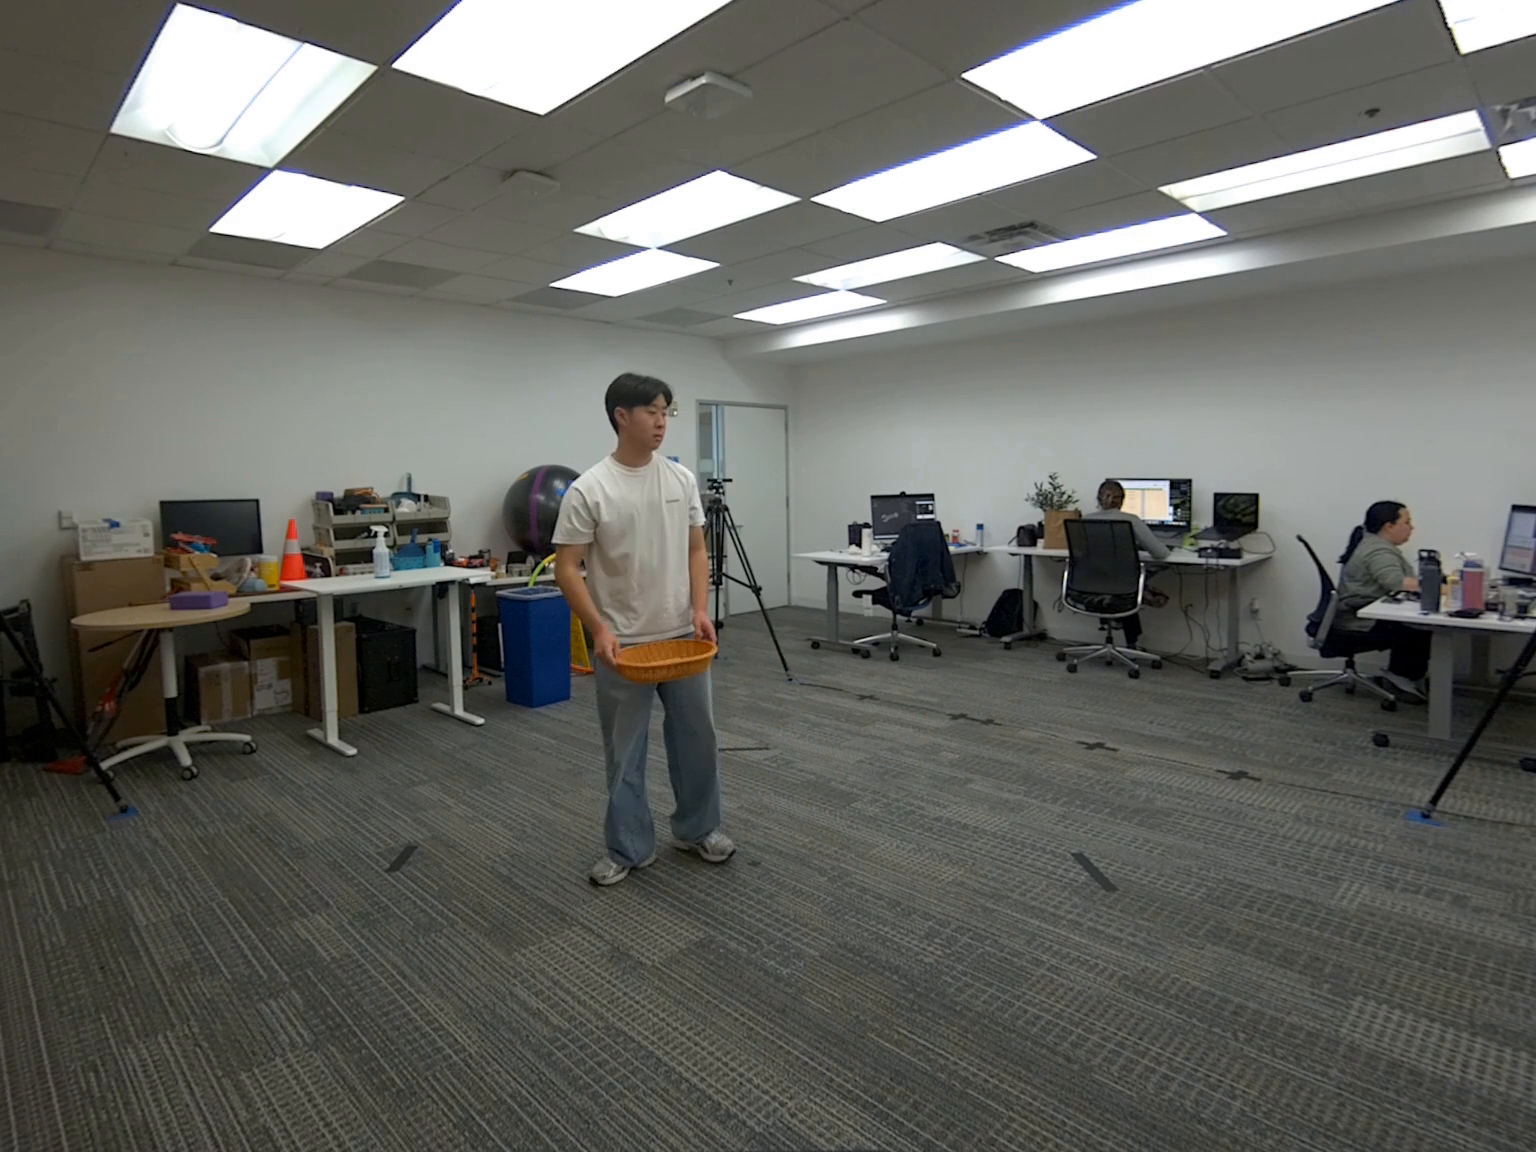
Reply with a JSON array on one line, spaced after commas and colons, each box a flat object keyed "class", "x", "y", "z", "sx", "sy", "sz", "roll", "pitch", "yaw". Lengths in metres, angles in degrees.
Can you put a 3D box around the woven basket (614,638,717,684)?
[{"class": "woven basket", "x": -0.358, "y": 0.282, "z": 2.768, "sx": 0.344, "sy": 0.073, "sz": 0.260, "roll": -8, "pitch": 12, "yaw": -25}]
